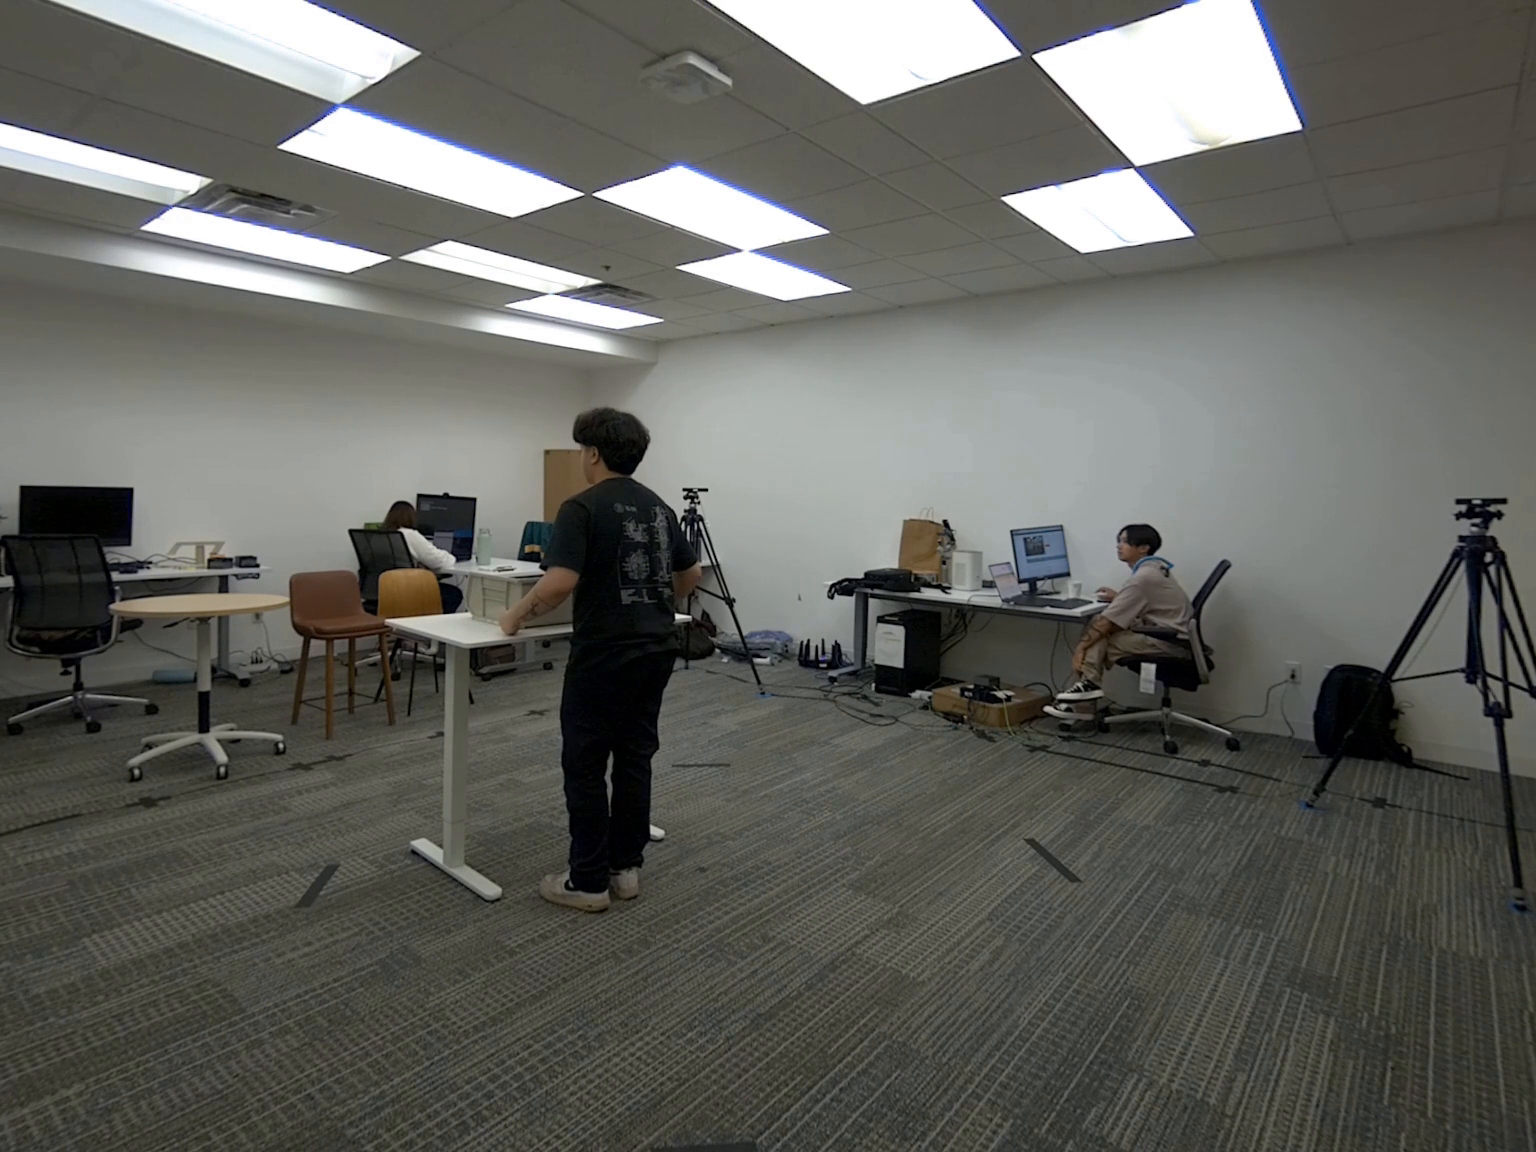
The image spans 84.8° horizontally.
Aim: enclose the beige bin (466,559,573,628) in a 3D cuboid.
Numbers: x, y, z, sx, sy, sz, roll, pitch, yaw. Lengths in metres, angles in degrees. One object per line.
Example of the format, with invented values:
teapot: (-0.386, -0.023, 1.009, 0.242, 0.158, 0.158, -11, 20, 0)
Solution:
beige bin: (-0.891, 0.070, 3.250, 0.390, 0.188, 0.409, 7, 7, 41)
